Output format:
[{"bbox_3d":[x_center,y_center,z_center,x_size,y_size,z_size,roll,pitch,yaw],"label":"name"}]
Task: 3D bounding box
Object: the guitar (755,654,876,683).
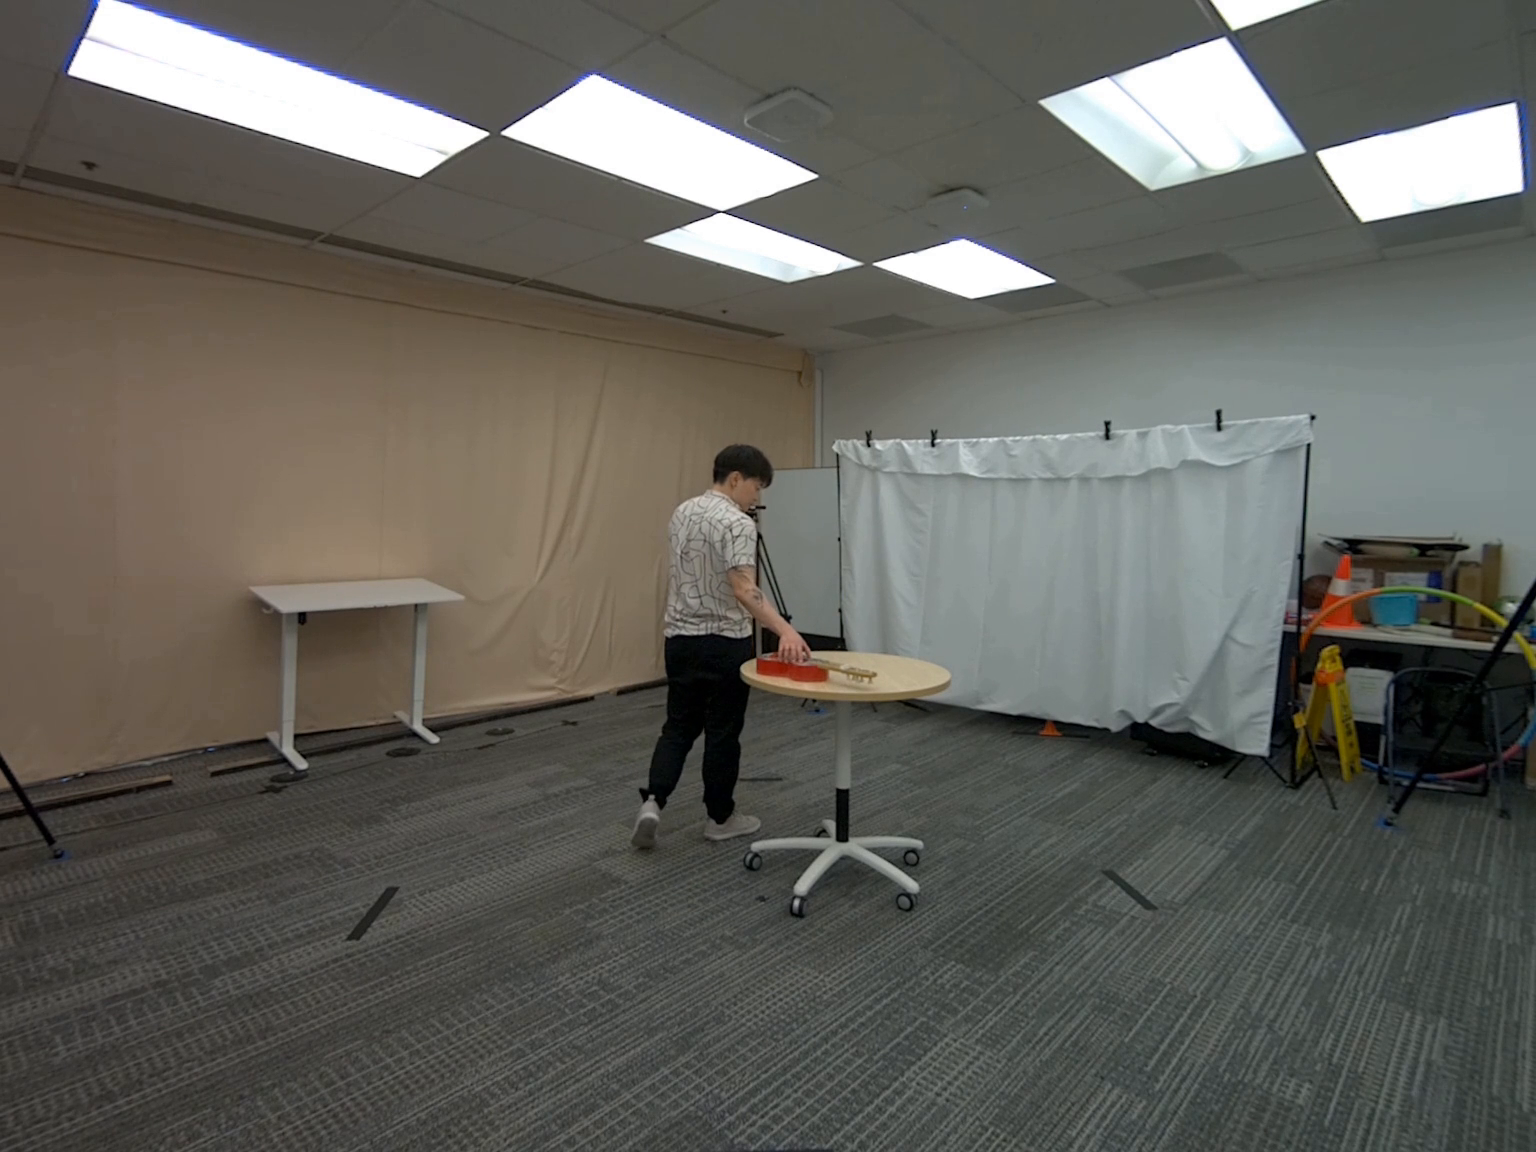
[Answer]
[{"bbox_3d":[0.152,0.335,2.920,0.188,0.070,0.513,-2,5,-32],"label":"guitar"}]
